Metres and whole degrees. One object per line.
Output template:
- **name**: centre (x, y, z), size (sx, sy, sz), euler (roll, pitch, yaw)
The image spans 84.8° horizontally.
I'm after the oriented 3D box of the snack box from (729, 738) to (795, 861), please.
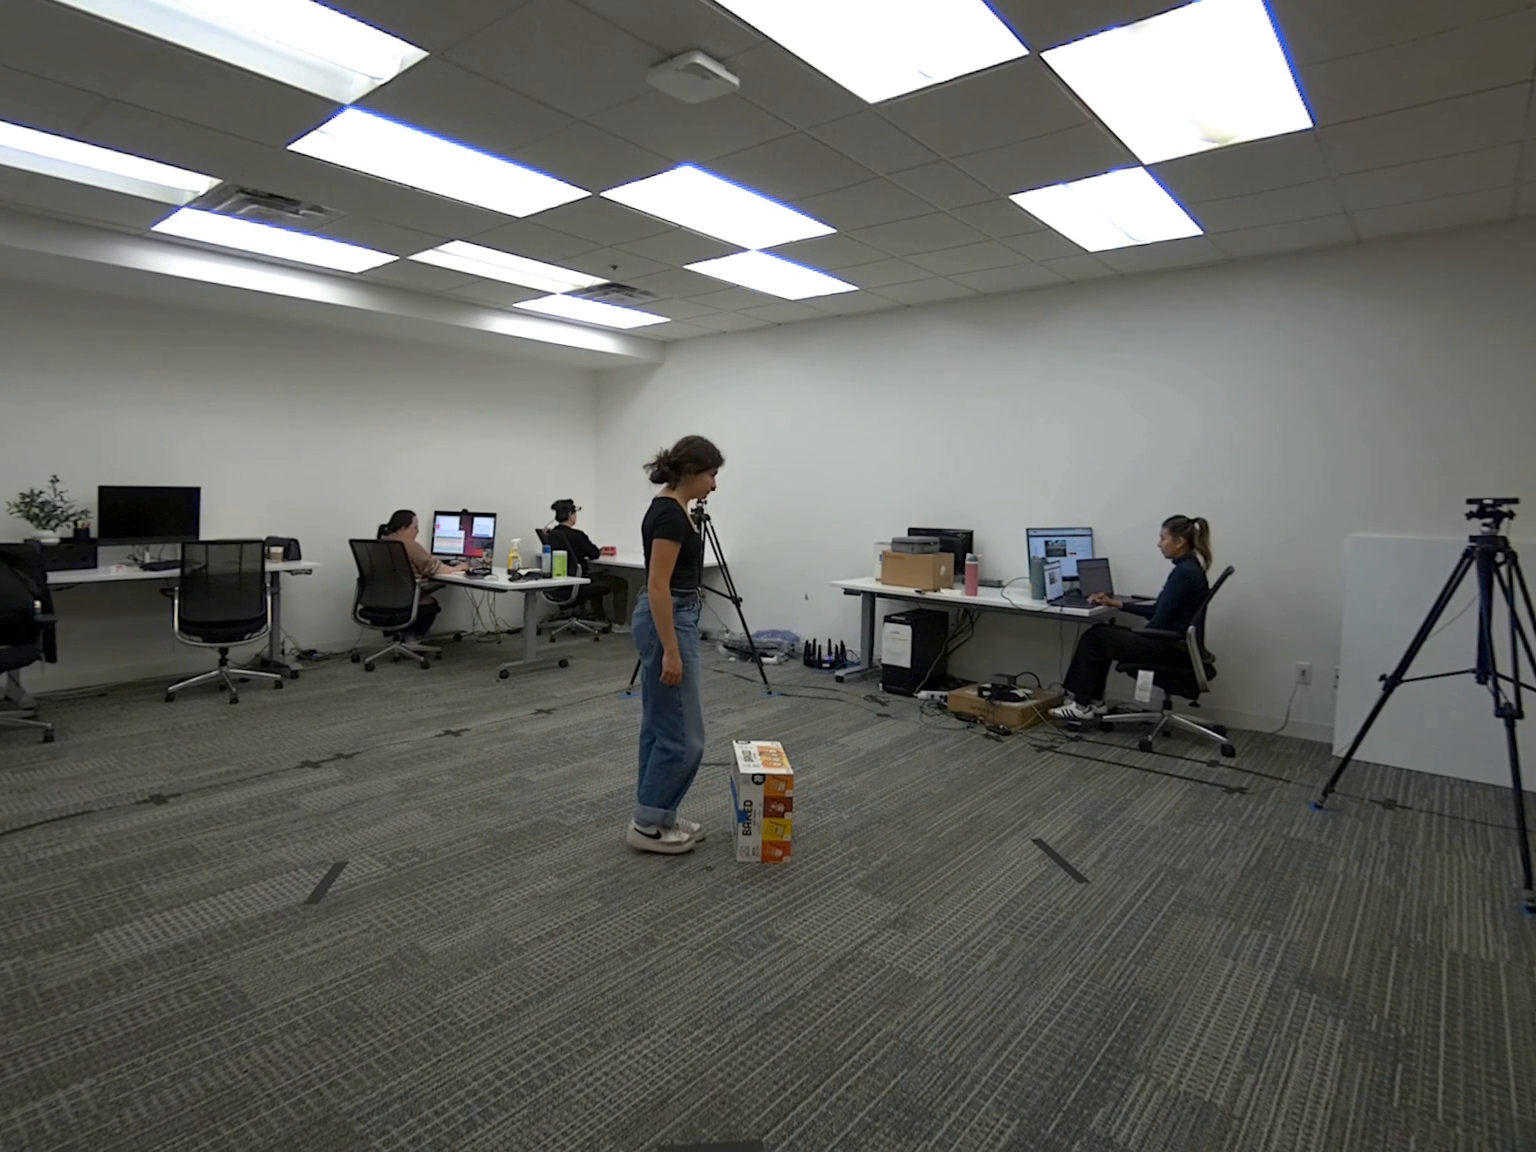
- **snack box**: centre (-0.034, 0.877, 3.352), size (0.204, 0.339, 0.409), euler (2, 4, -6)
